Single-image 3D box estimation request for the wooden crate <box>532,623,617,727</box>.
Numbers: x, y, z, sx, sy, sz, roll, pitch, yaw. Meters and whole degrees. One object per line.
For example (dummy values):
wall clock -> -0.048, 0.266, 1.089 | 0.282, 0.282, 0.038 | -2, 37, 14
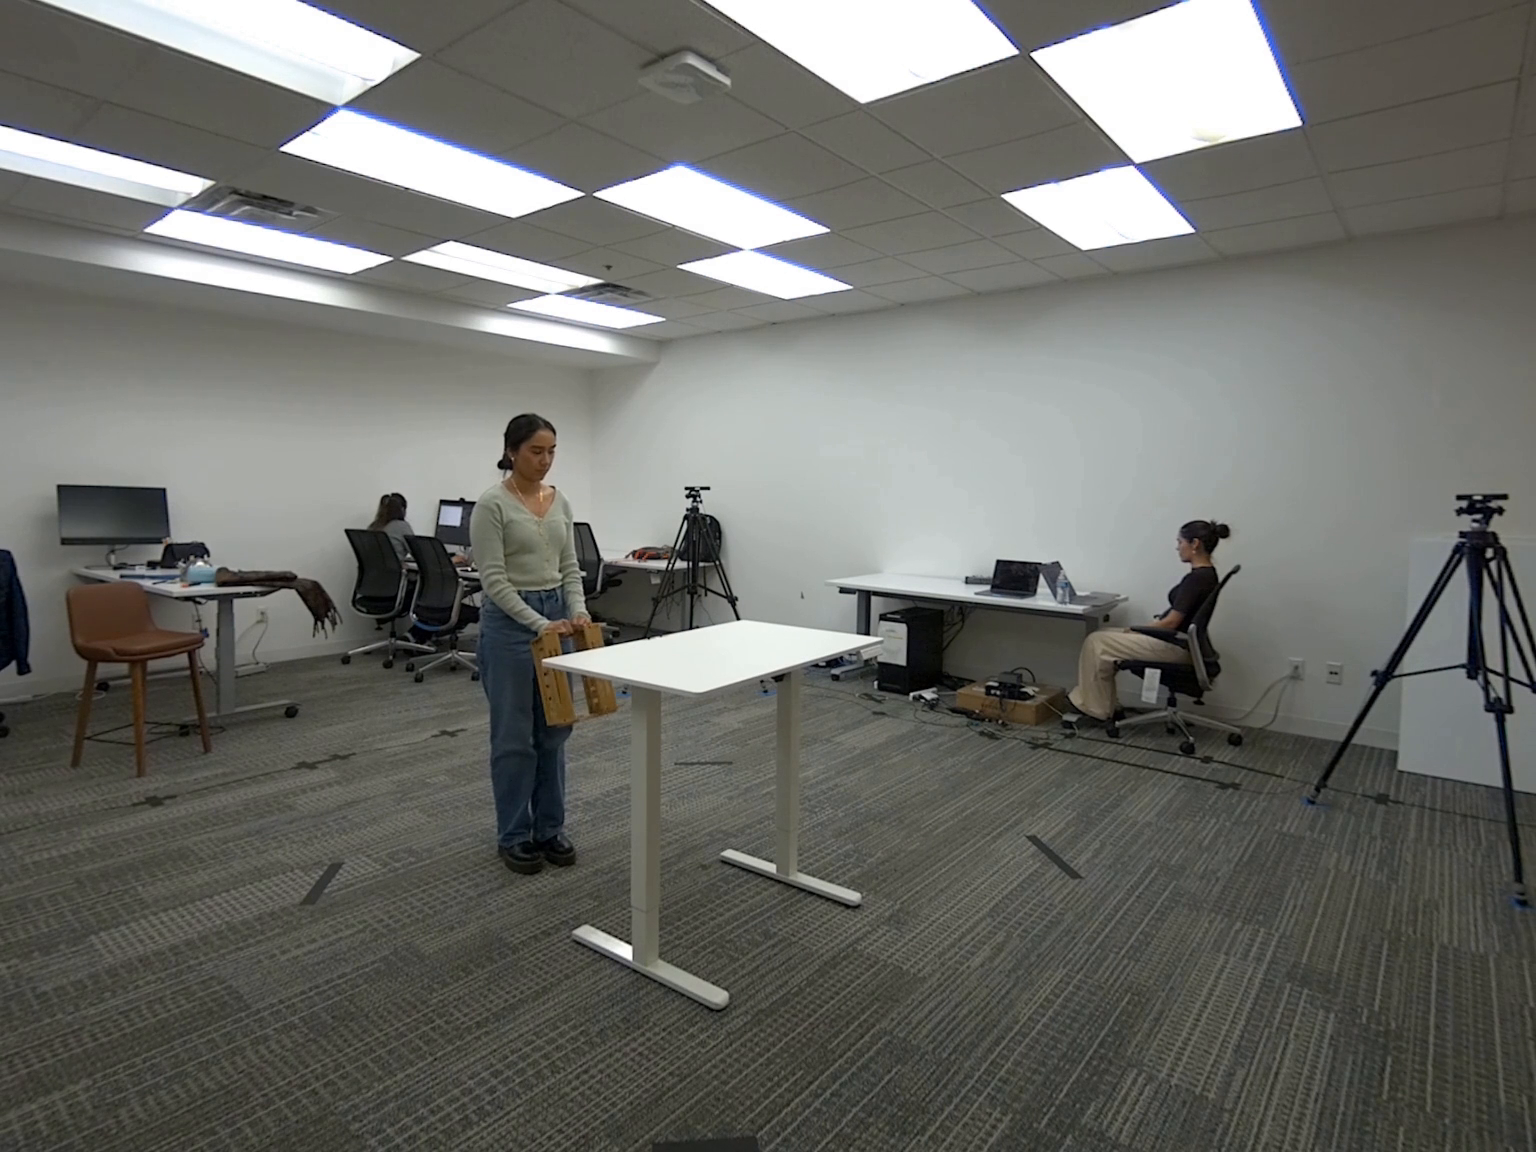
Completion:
wooden crate -> -0.660, 0.332, 2.969 | 0.267, 0.327, 0.306 | -10, -7, -27
